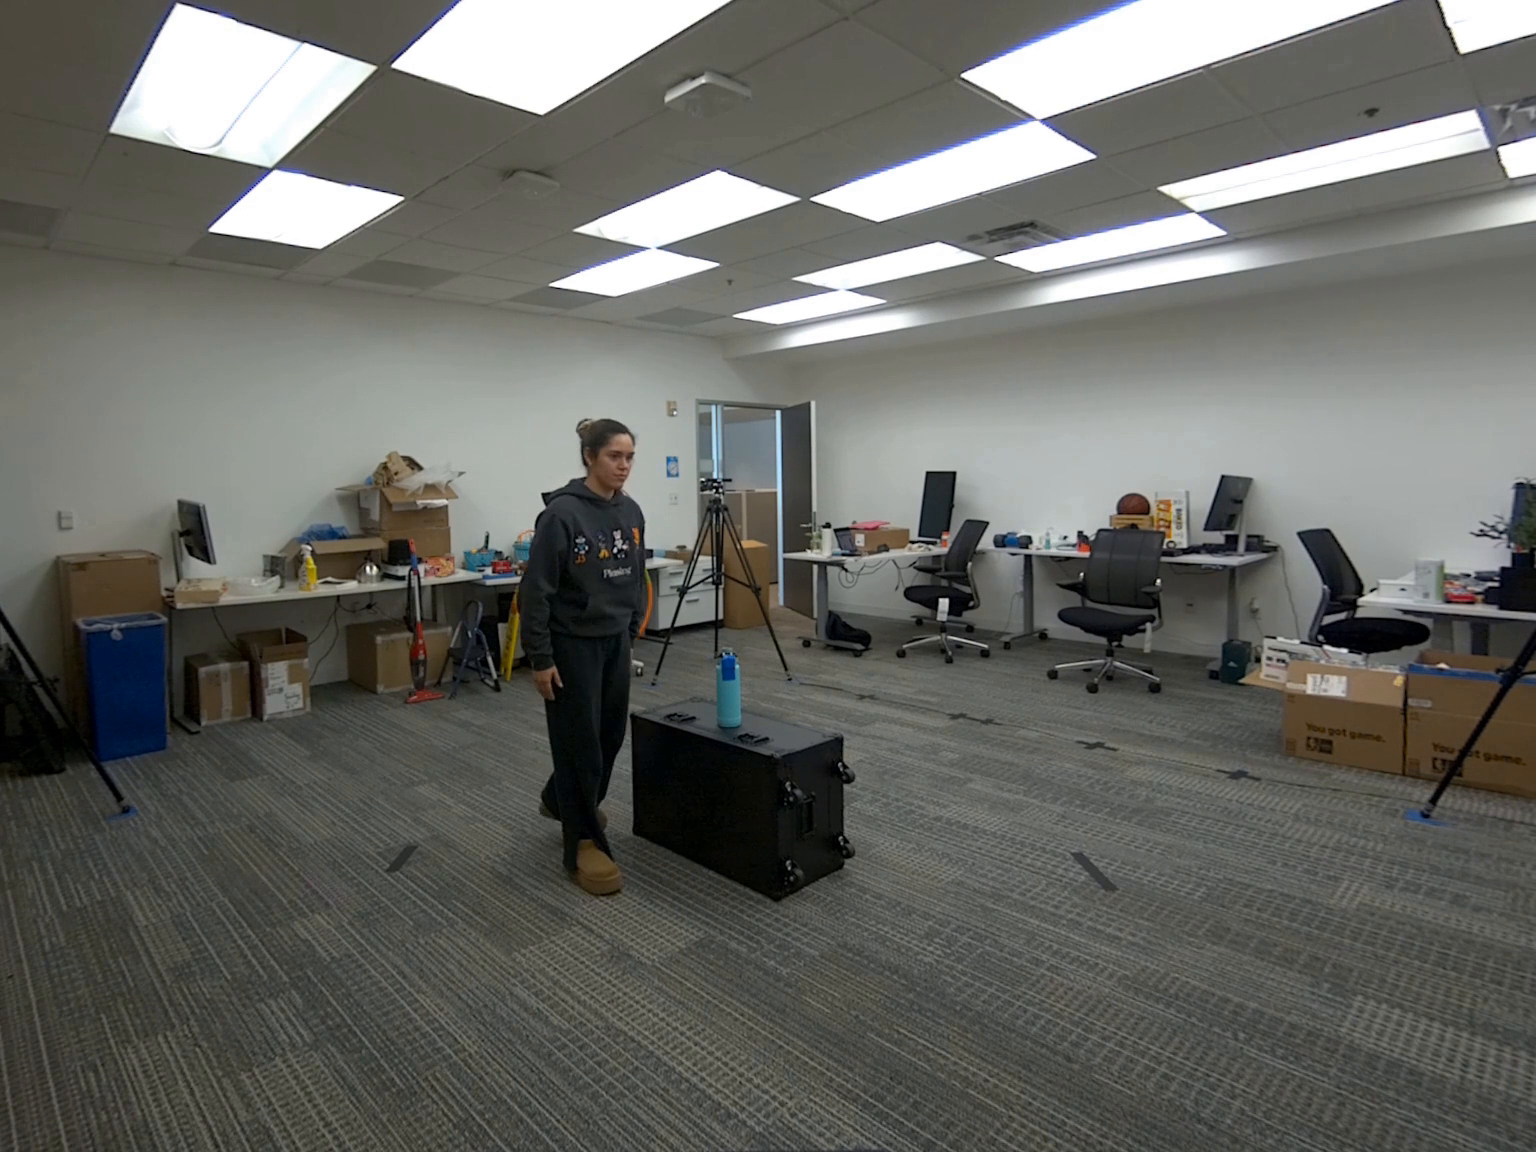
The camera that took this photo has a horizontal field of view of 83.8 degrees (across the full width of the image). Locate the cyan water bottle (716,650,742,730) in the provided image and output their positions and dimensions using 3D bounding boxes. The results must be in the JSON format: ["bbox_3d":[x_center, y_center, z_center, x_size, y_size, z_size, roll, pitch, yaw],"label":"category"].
[{"bbox_3d":[-0.147,0.412,3.173,0.092,0.282,0.093,-1,5,-2],"label":"cyan water bottle"}]
